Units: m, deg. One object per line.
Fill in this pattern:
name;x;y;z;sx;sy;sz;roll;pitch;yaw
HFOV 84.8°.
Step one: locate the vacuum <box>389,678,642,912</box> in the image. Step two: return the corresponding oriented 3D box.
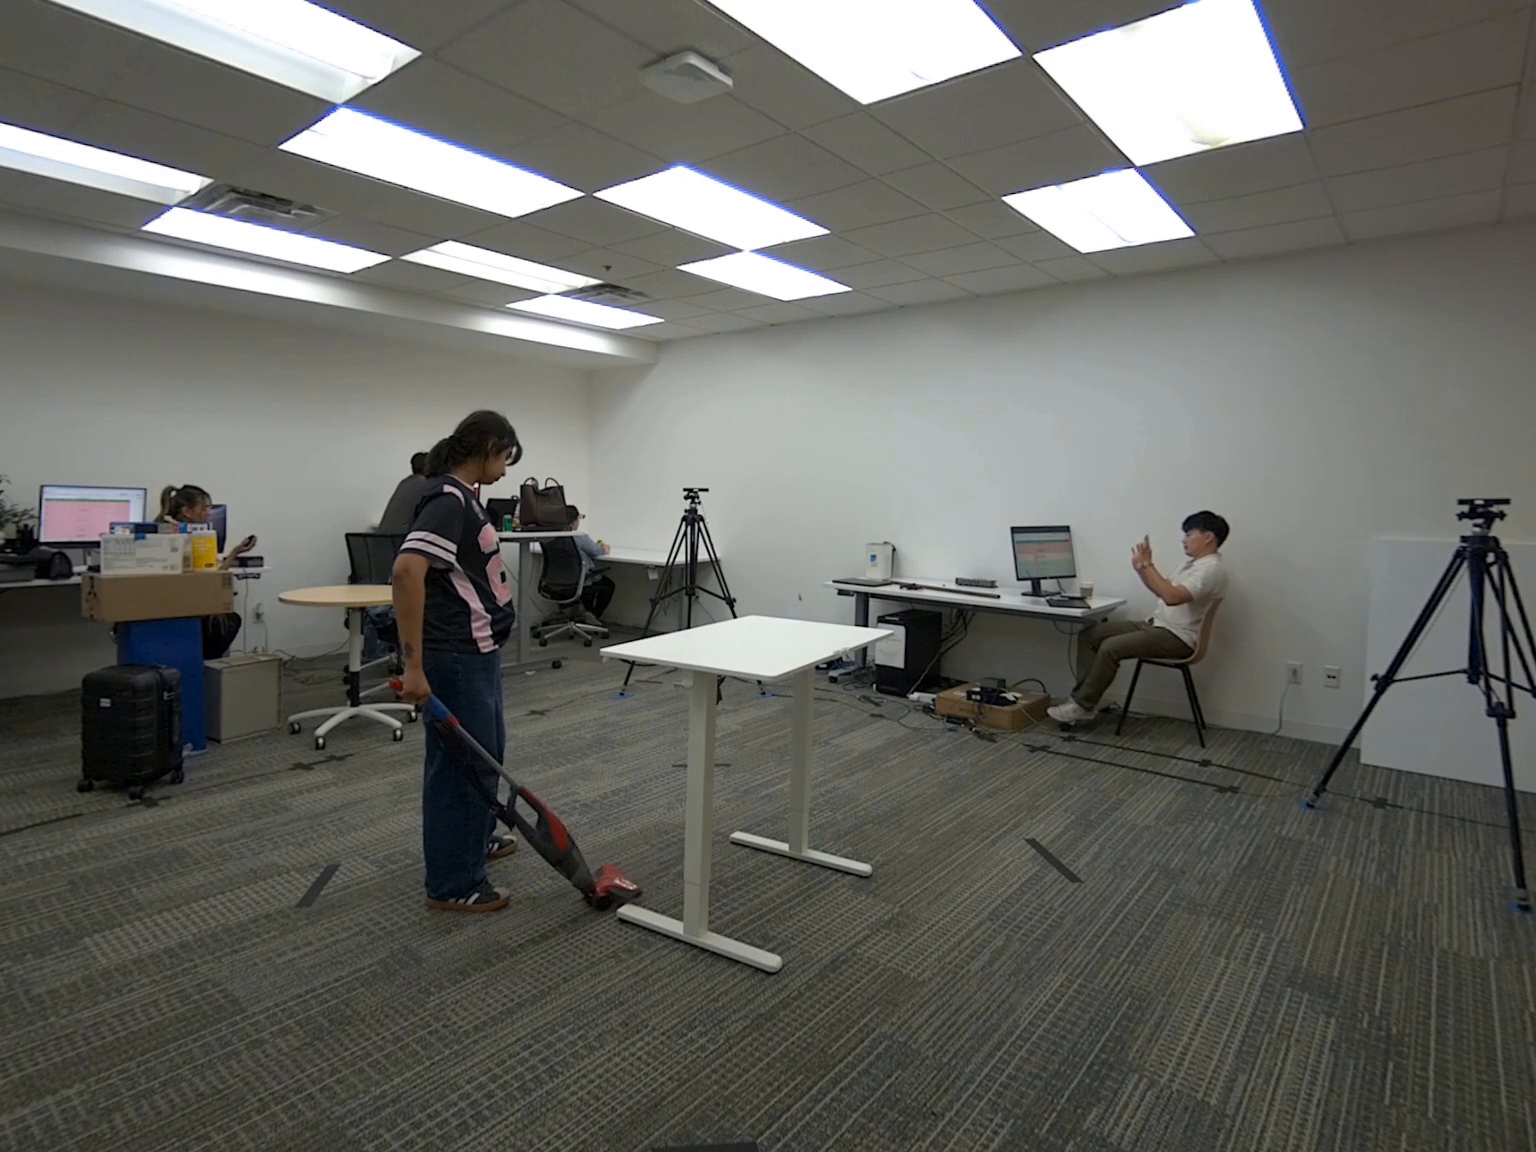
vacuum;-0.821;0.693;2.663;0.144;1.019;0.260;-46;24;-20
